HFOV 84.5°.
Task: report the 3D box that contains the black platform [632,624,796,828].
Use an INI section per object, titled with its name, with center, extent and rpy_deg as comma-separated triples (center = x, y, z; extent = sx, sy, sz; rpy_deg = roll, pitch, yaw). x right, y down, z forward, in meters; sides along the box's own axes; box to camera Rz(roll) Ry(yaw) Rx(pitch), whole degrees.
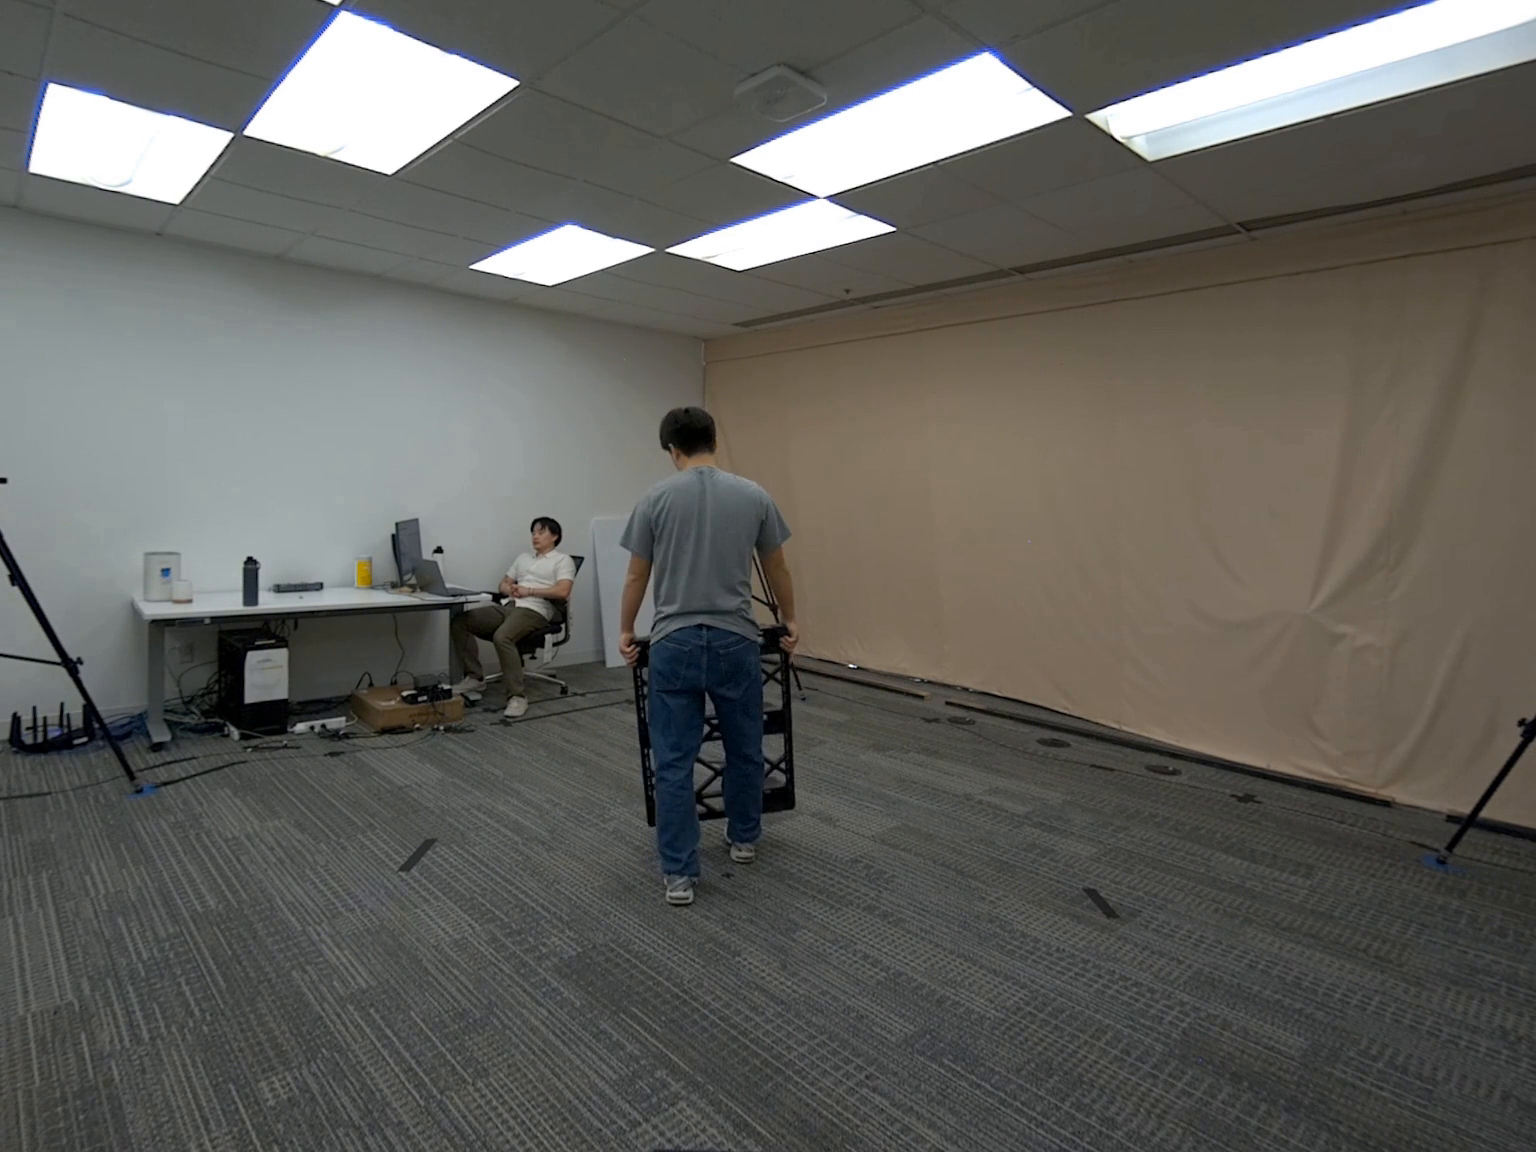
[black platform]
center = -0.221, 0.589, 3.326
extent = 0.603, 0.796, 0.145
rpy_deg = -5, 16, -5
